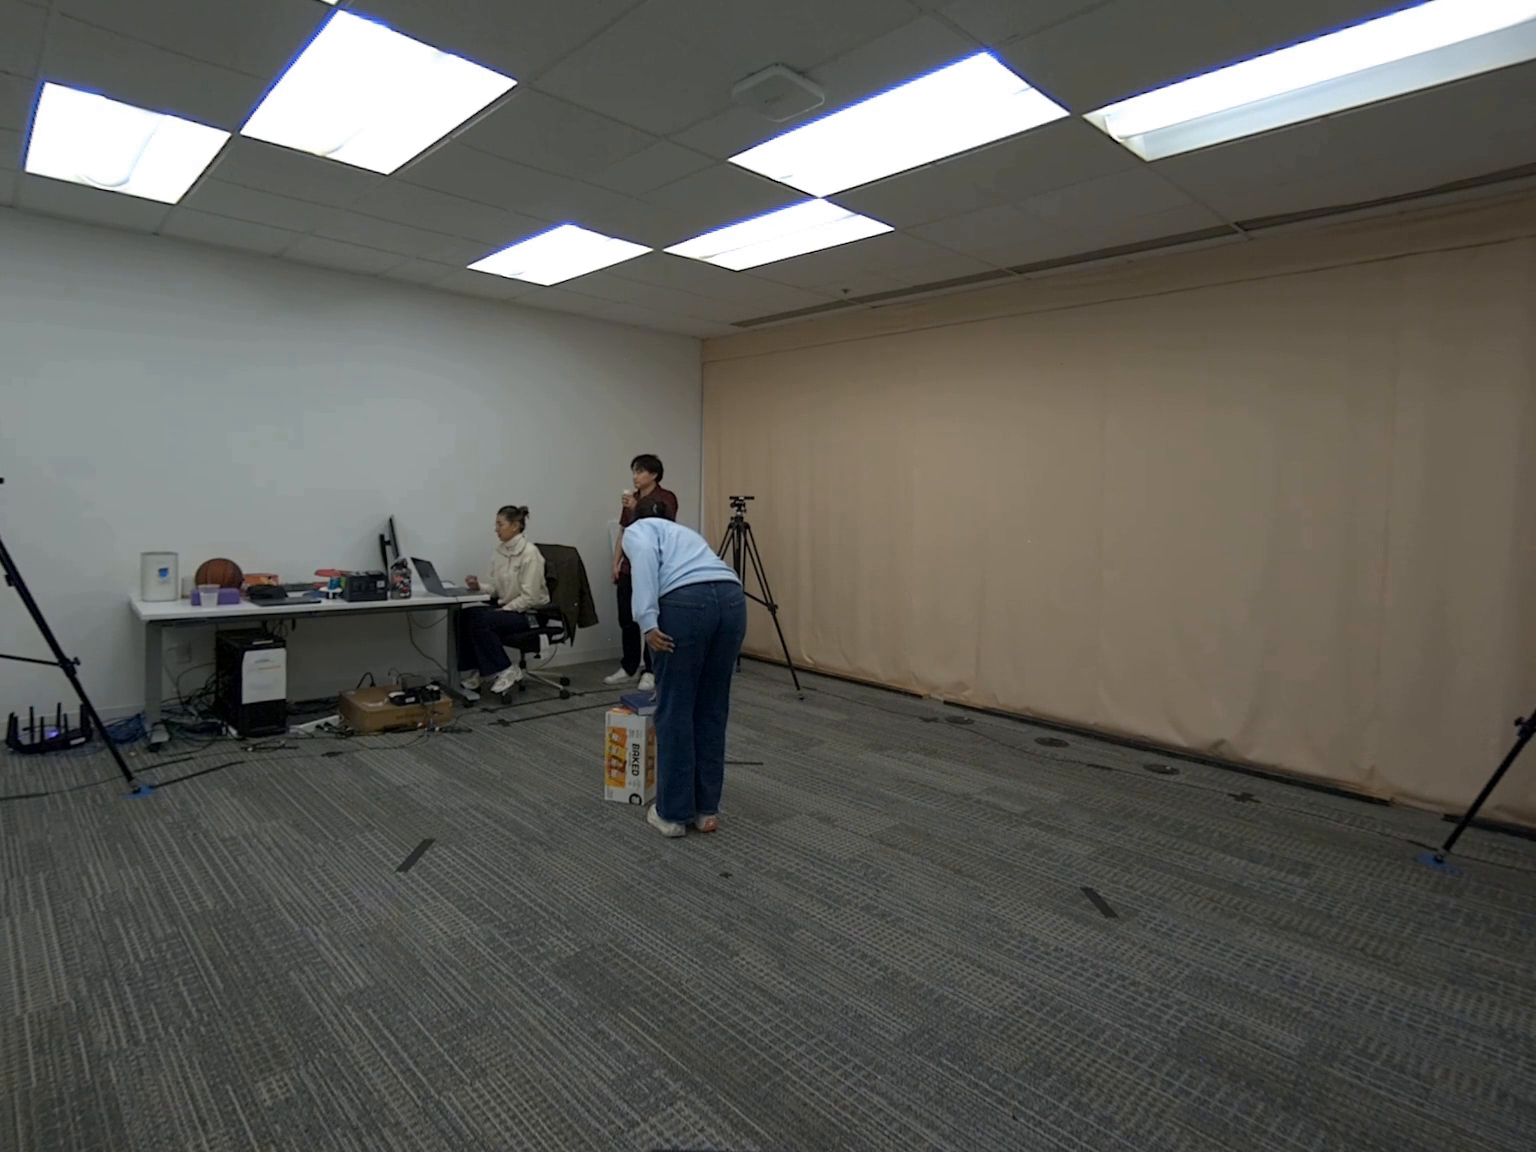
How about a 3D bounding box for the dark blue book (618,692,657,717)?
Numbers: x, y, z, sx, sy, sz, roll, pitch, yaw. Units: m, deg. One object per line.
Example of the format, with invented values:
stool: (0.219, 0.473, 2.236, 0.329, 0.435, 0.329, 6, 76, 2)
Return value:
dark blue book: (-0.589, 0.596, 3.929, 0.160, 0.045, 0.250, -2, 6, -27)
